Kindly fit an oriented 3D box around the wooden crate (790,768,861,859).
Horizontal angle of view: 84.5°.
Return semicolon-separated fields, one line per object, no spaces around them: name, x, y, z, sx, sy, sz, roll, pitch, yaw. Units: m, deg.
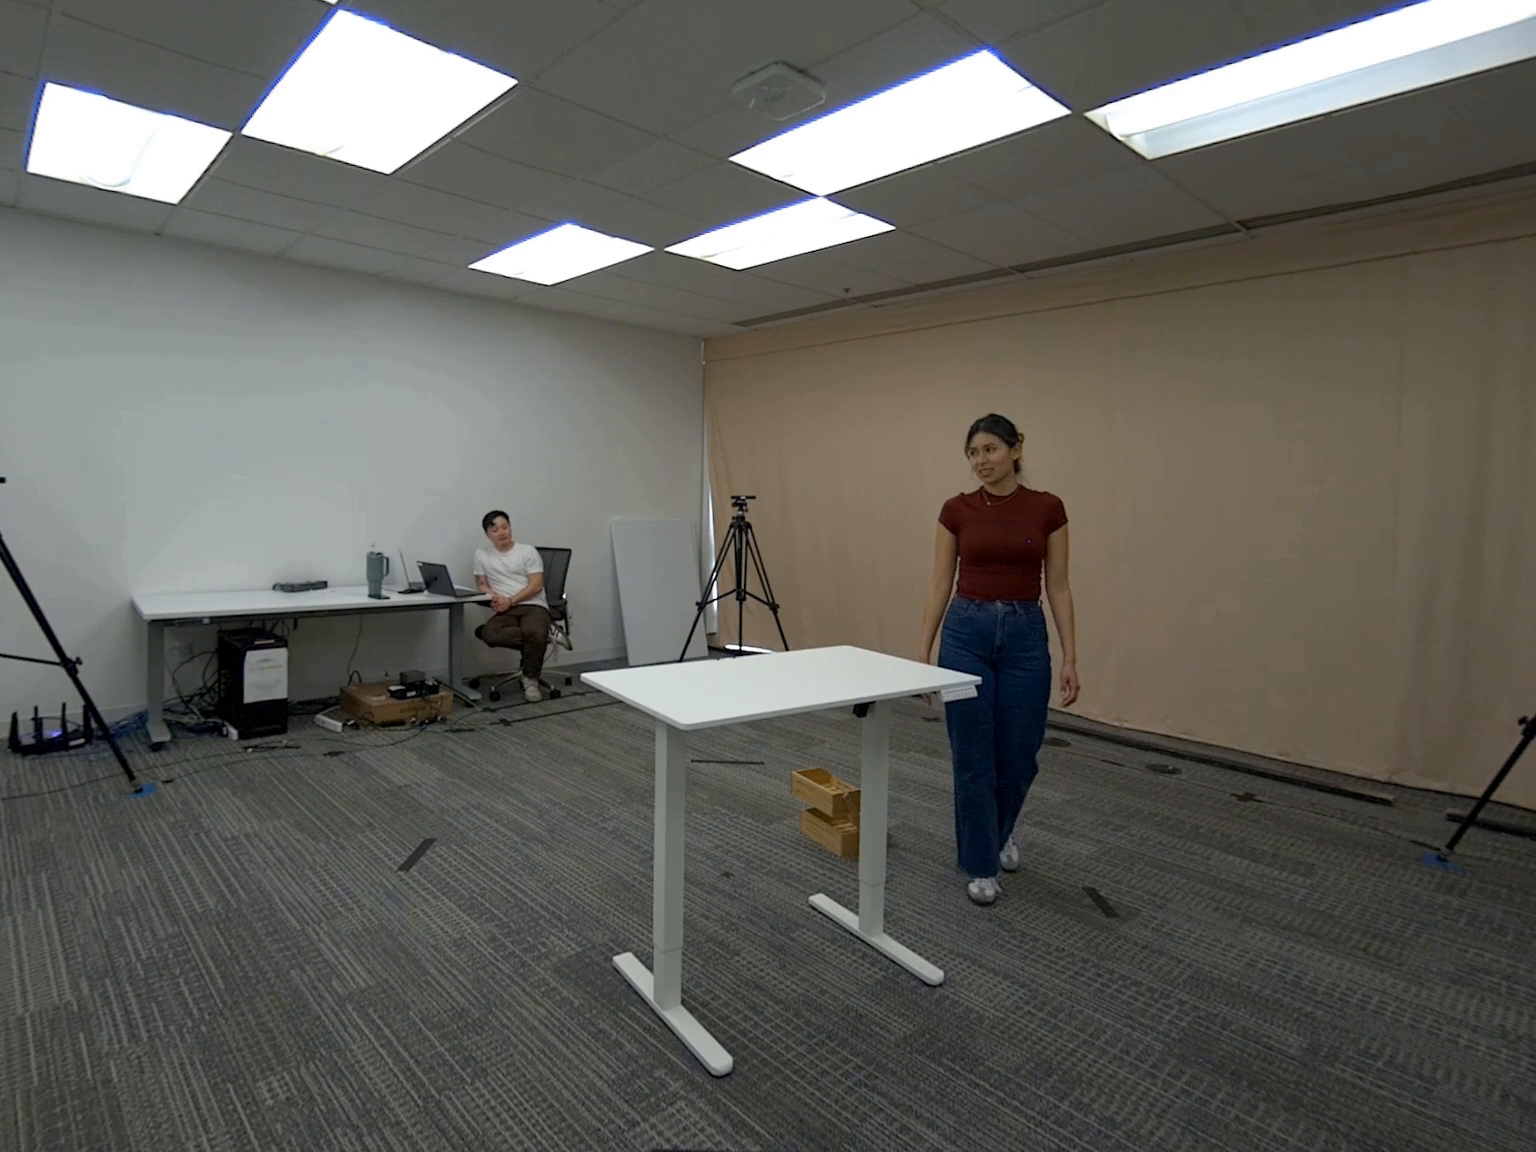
wooden crate;0.291;0.948;3.446;0.296;0.272;0.332;-1;5;-30
